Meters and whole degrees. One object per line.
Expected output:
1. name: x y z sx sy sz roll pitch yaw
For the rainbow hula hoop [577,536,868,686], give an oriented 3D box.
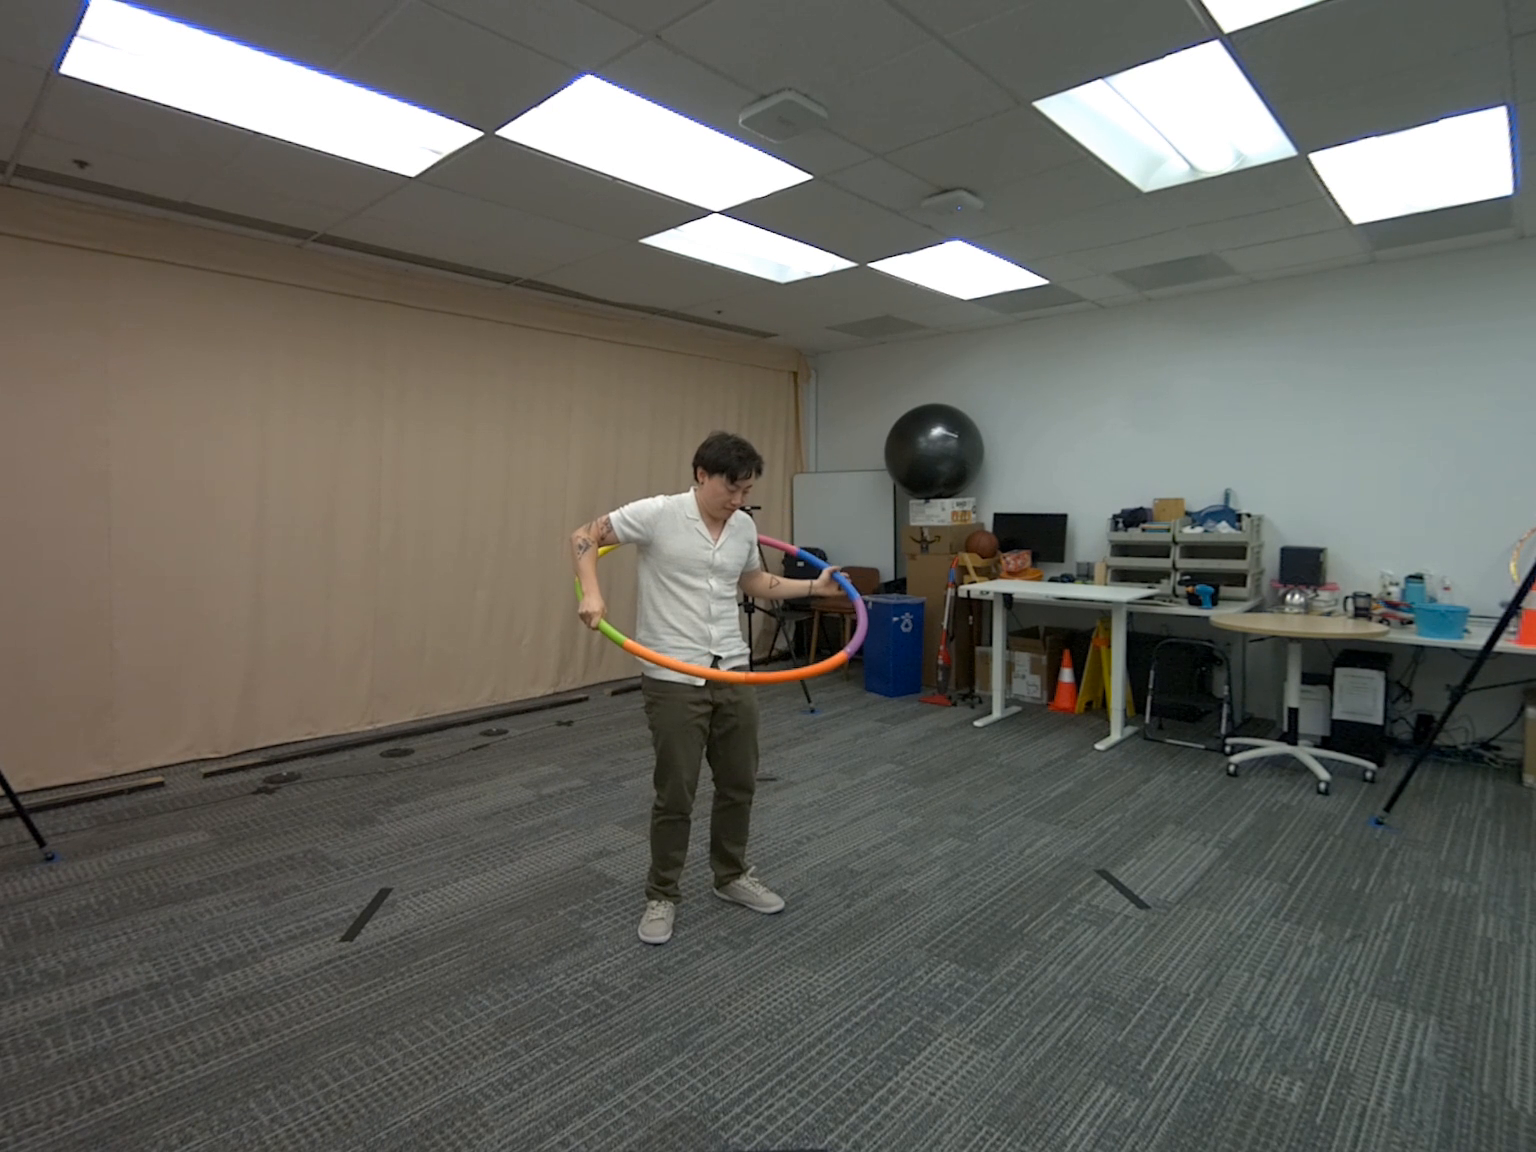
1. rainbow hula hoop: -0.147 0.055 2.847 0.974 0.035 0.995 6 28 -5
